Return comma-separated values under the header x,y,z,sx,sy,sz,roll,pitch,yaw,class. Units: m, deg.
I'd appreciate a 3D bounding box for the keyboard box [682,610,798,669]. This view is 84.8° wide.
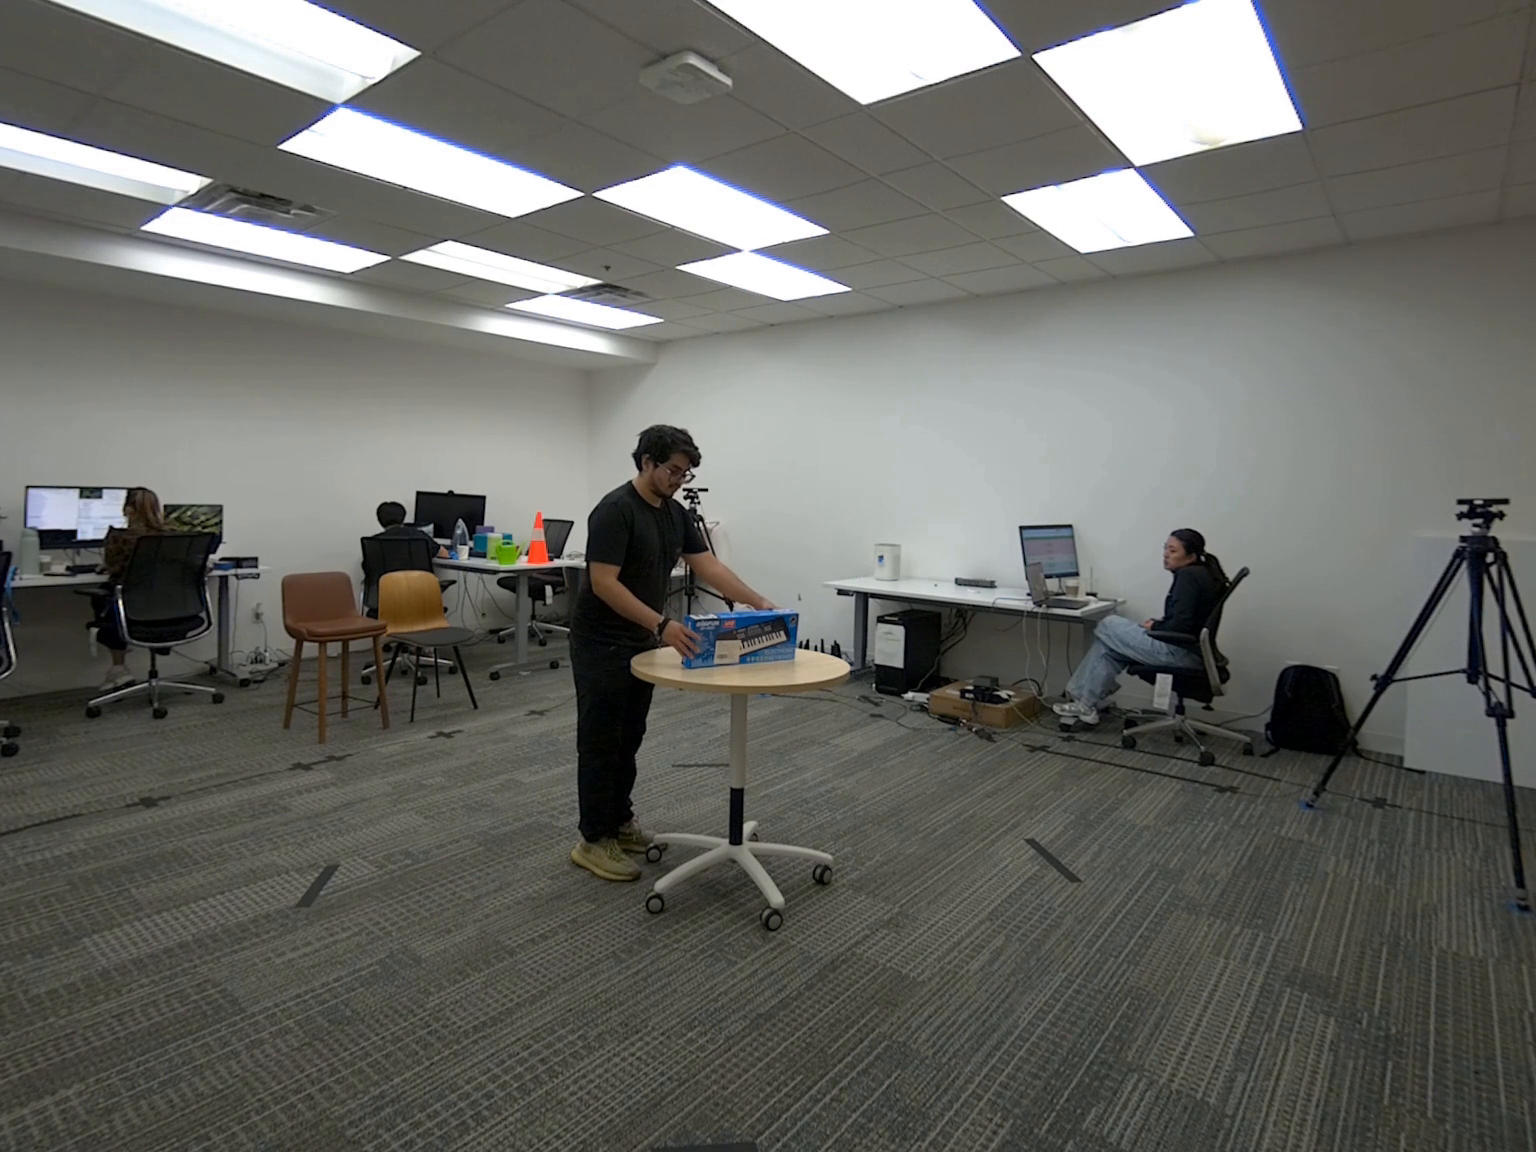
x,y,z,sx,sy,sz,roll,pitch,yaw,class
-0.100,0.219,2.953,0.425,0.175,0.061,-2,8,-31,keyboard box
